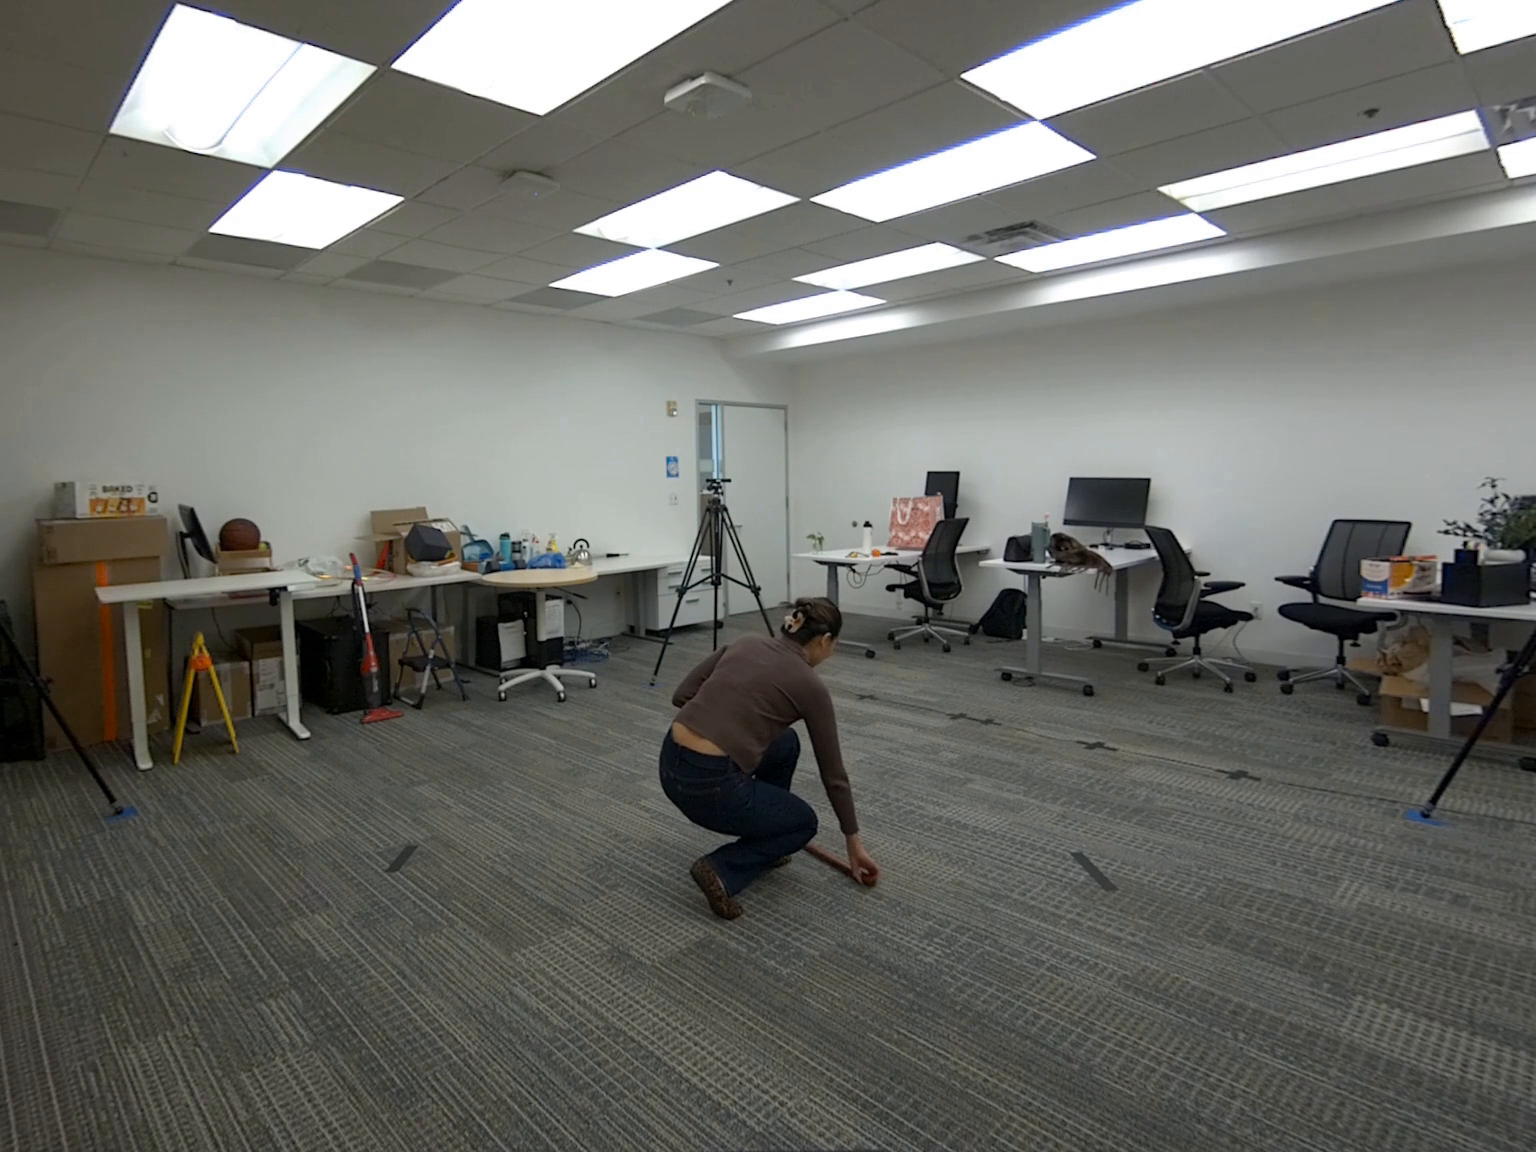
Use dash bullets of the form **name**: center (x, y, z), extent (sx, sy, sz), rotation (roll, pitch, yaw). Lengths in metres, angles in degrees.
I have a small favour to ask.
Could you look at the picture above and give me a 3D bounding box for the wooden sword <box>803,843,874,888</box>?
- **wooden sword**: center (0.051, 0.992, 3.339), extent (0.024, 0.050, 1.055), rotation (-34, 23, -29)
